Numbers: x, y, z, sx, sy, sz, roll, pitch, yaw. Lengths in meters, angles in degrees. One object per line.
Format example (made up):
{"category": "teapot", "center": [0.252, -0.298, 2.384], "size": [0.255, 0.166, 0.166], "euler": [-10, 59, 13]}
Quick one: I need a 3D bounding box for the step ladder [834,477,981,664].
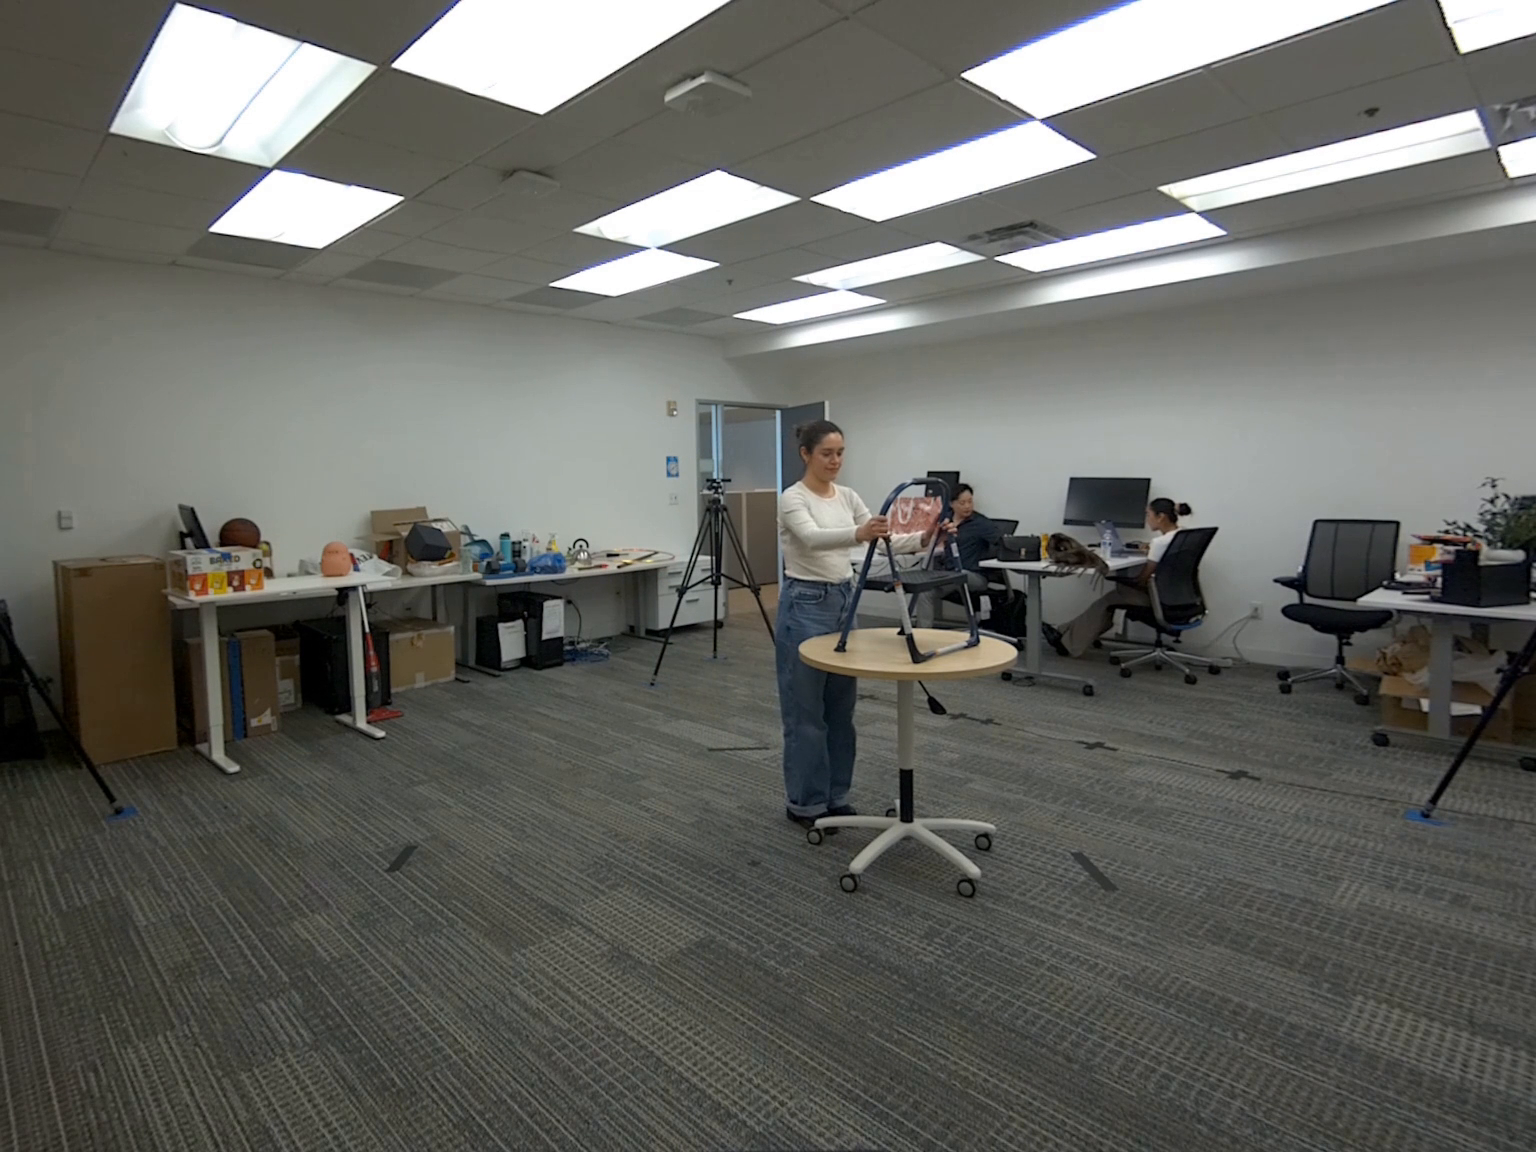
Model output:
{"category": "step ladder", "center": [0.496, -0.045, 3.052], "size": [0.360, 0.604, 0.419], "euler": [2, 6, 43]}
